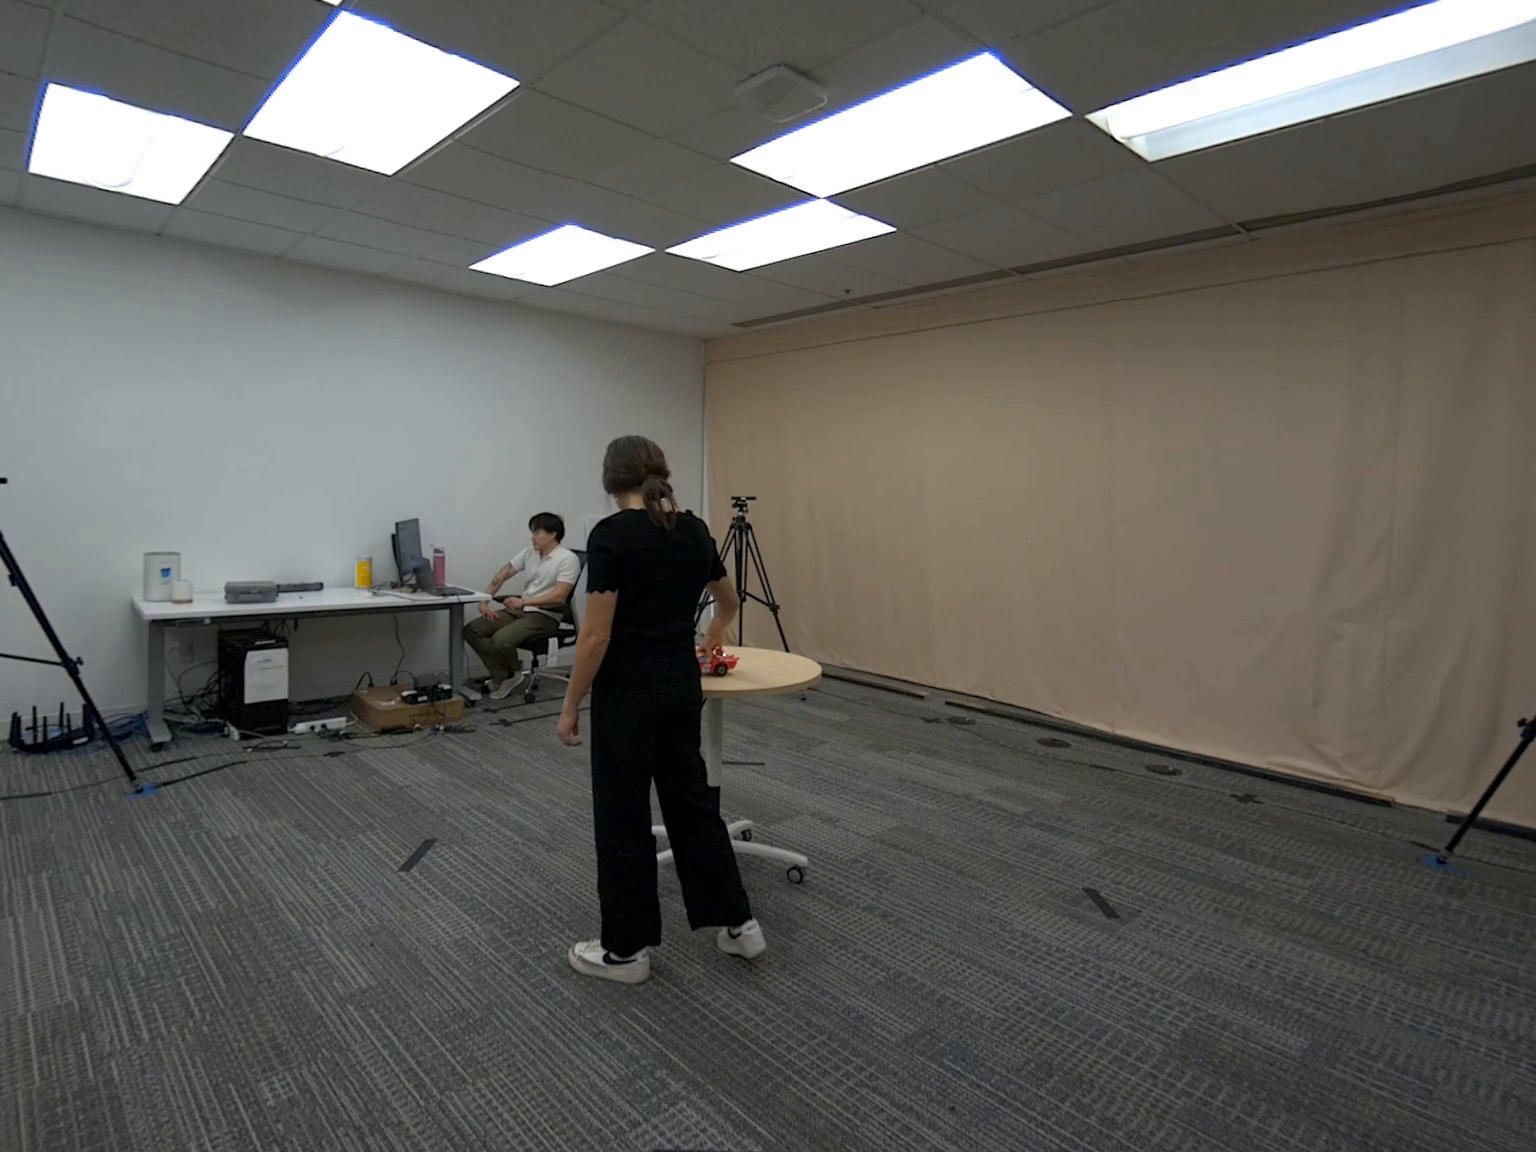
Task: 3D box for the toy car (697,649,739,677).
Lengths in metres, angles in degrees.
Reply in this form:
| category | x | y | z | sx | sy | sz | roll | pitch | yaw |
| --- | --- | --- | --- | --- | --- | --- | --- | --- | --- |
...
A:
| category | x | y | z | sx | sy | sz | roll | pitch | yaw |
| --- | --- | --- | --- | --- | --- | --- | --- | --- | --- |
| toy car | -0.233 | 0.311 | 2.894 | 0.252 | 0.083 | 0.132 | -13 | 9 | -16 |
